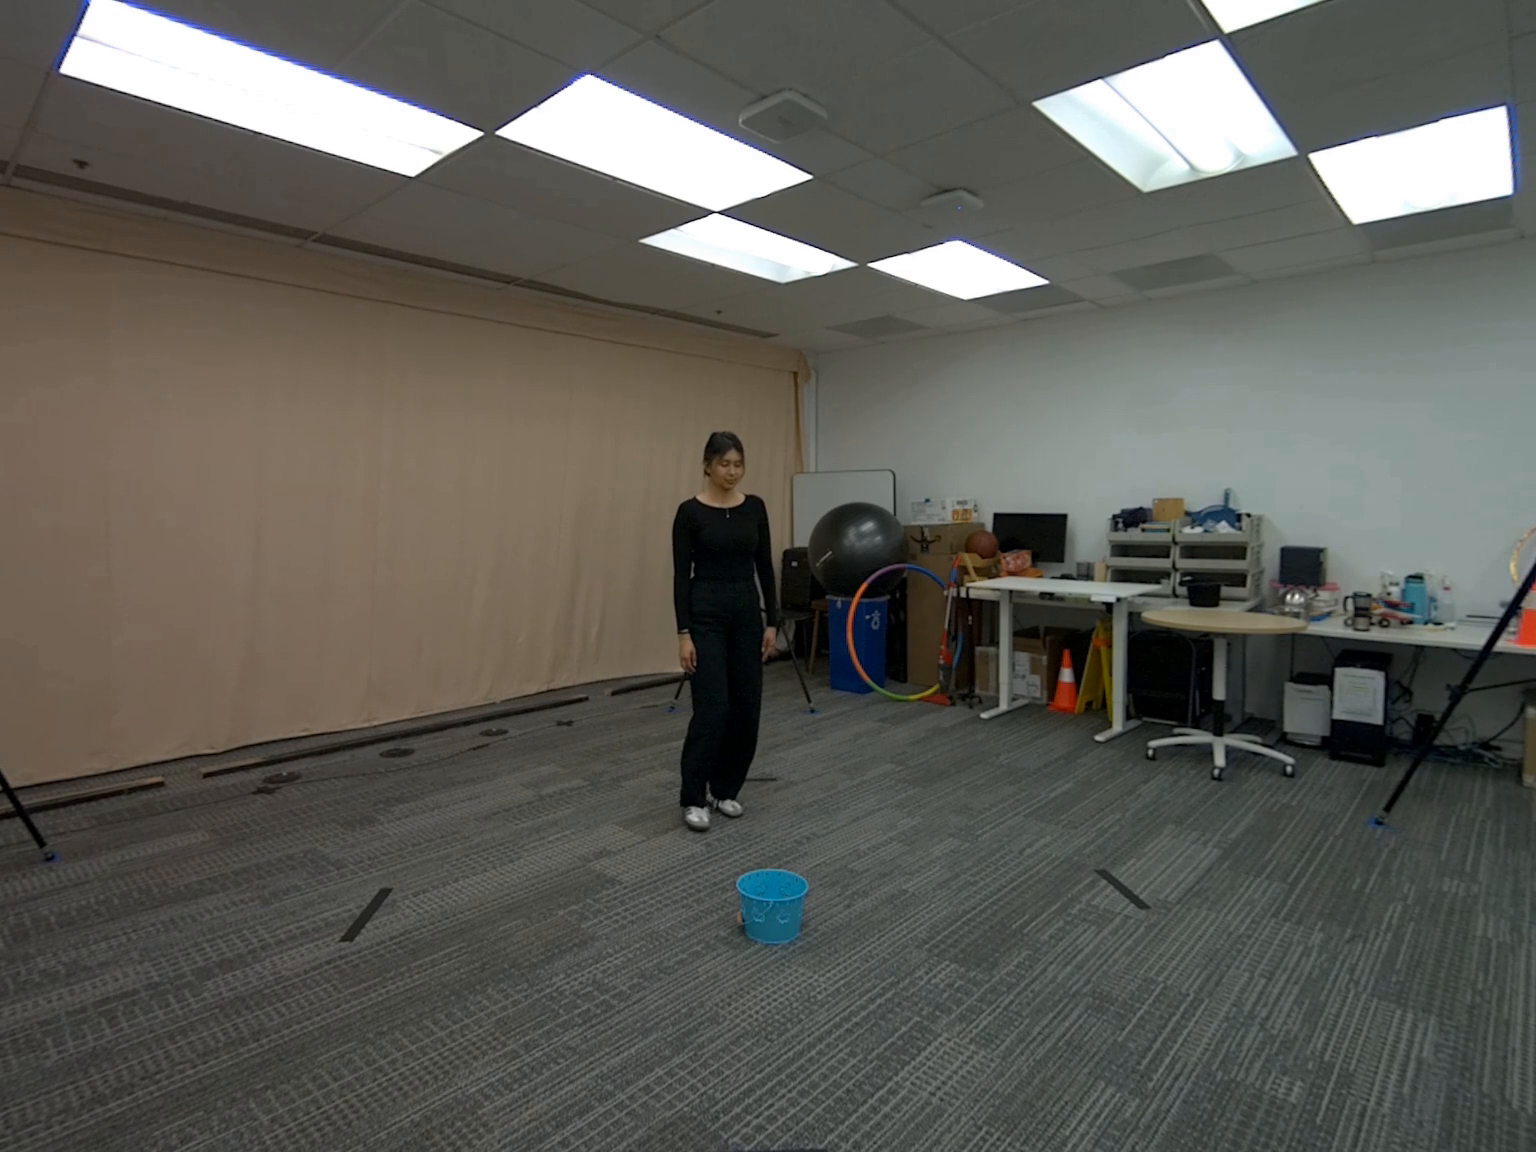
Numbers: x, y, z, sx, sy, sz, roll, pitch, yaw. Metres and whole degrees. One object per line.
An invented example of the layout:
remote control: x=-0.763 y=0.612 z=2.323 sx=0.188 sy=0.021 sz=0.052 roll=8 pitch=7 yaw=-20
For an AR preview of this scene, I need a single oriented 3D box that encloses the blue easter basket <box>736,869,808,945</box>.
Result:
blue easter basket: x=0.014 y=1.083 z=2.769 sx=0.243 sy=0.155 sz=0.244 roll=0 pitch=4 yaw=-2
